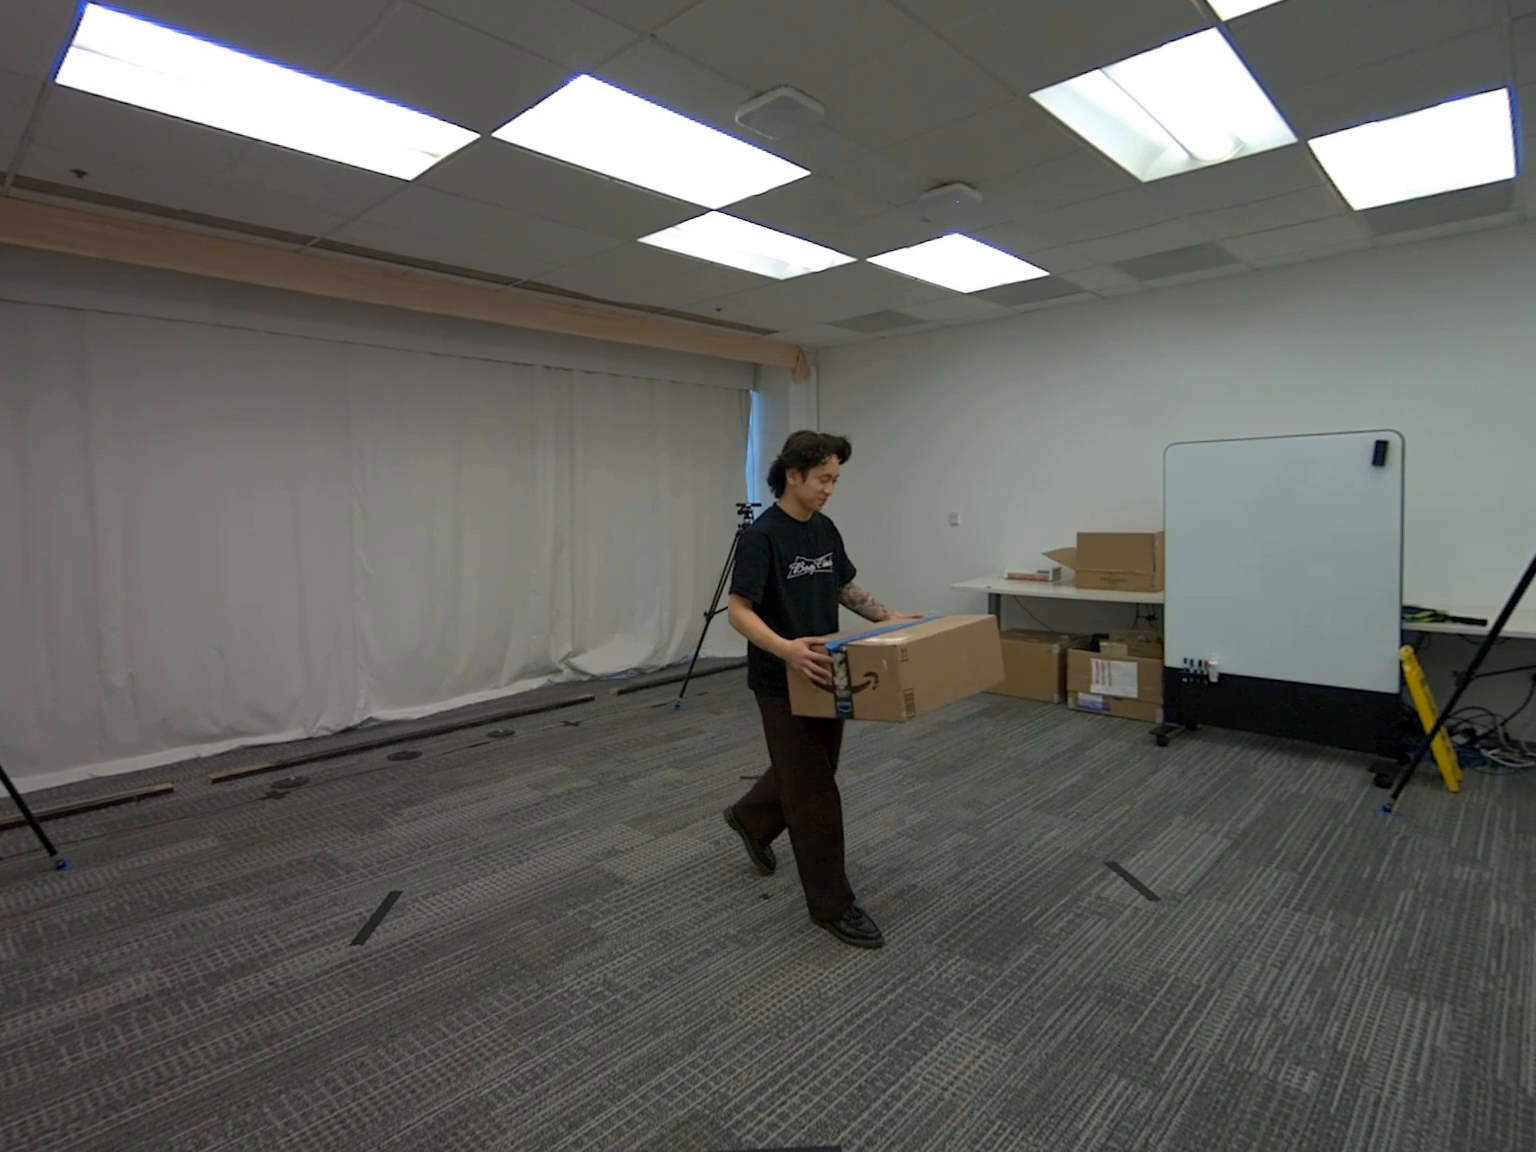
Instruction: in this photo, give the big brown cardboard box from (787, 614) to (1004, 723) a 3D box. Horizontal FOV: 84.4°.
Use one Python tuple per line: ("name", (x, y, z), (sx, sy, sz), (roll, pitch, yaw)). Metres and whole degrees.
("big brown cardboard box", (0.396, 0.273, 2.621), (0.571, 0.233, 0.430), (-7, 1, -44))
